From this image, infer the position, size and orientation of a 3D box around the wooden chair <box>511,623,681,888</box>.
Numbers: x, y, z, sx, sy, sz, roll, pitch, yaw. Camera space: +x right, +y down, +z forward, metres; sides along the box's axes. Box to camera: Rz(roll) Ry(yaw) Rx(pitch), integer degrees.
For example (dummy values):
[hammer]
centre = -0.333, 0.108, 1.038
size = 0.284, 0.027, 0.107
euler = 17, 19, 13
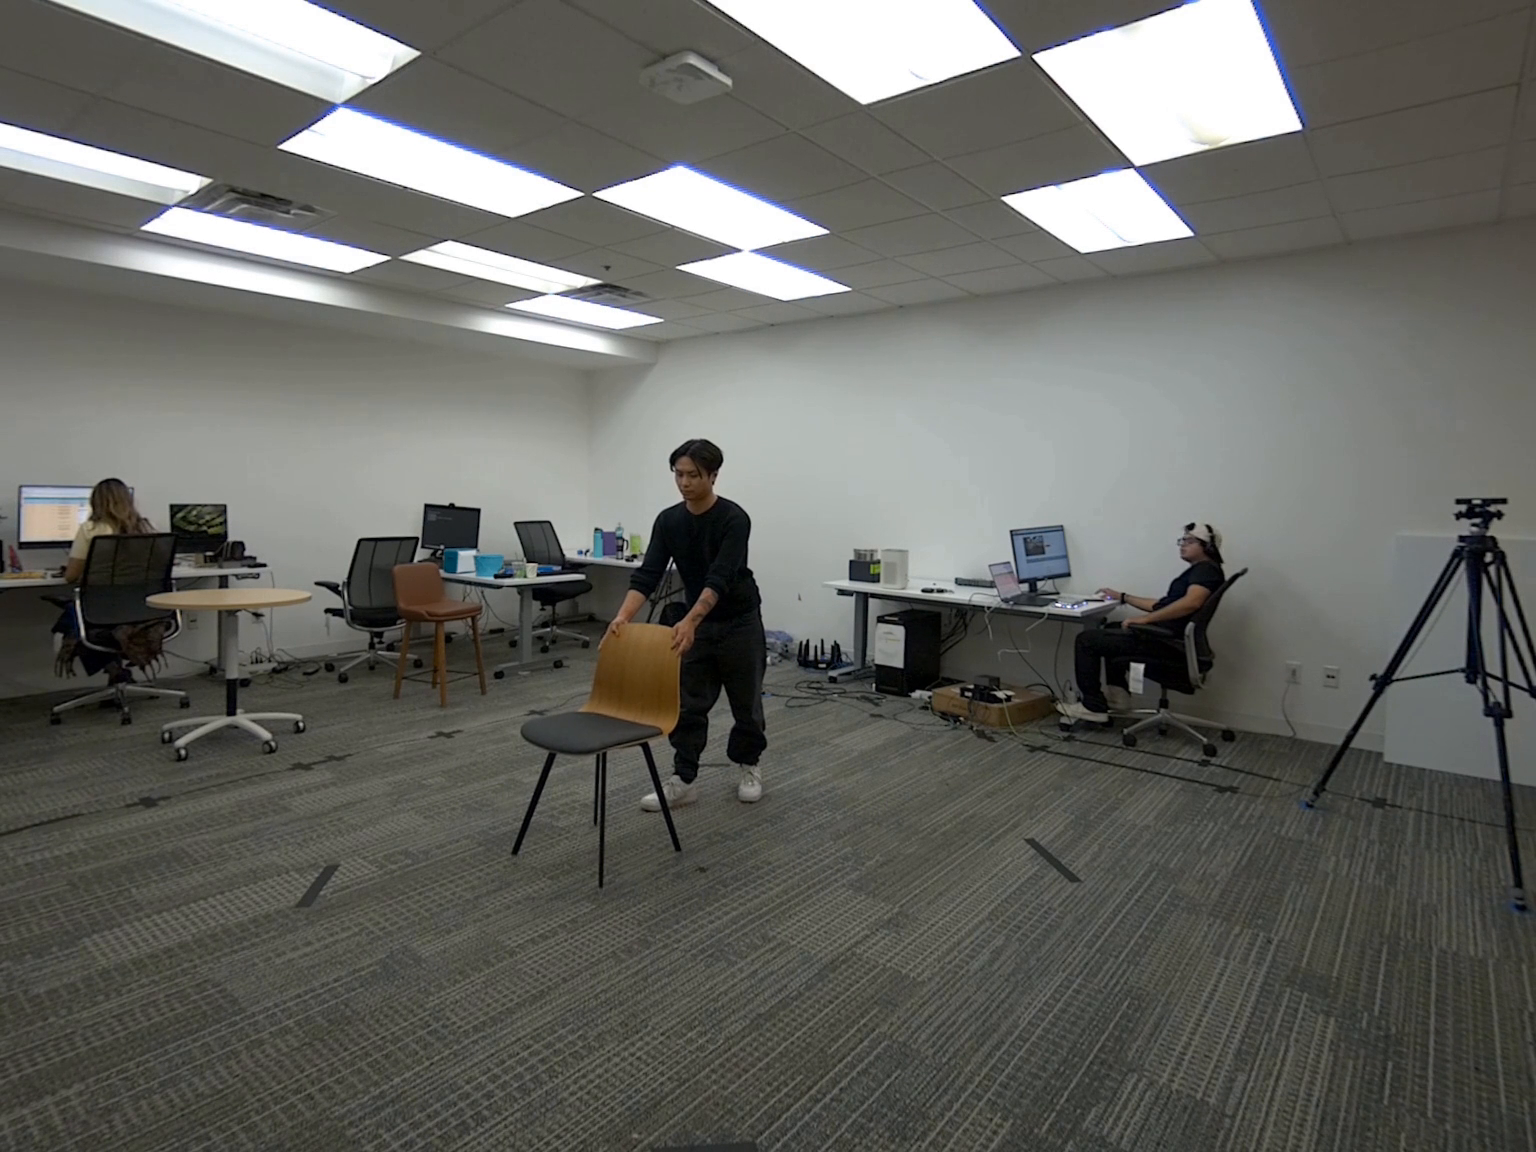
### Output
[wooden chair]
centre = -0.635, 0.615, 3.191
size = 0.493, 0.880, 0.506
euler = 3, -3, 33
